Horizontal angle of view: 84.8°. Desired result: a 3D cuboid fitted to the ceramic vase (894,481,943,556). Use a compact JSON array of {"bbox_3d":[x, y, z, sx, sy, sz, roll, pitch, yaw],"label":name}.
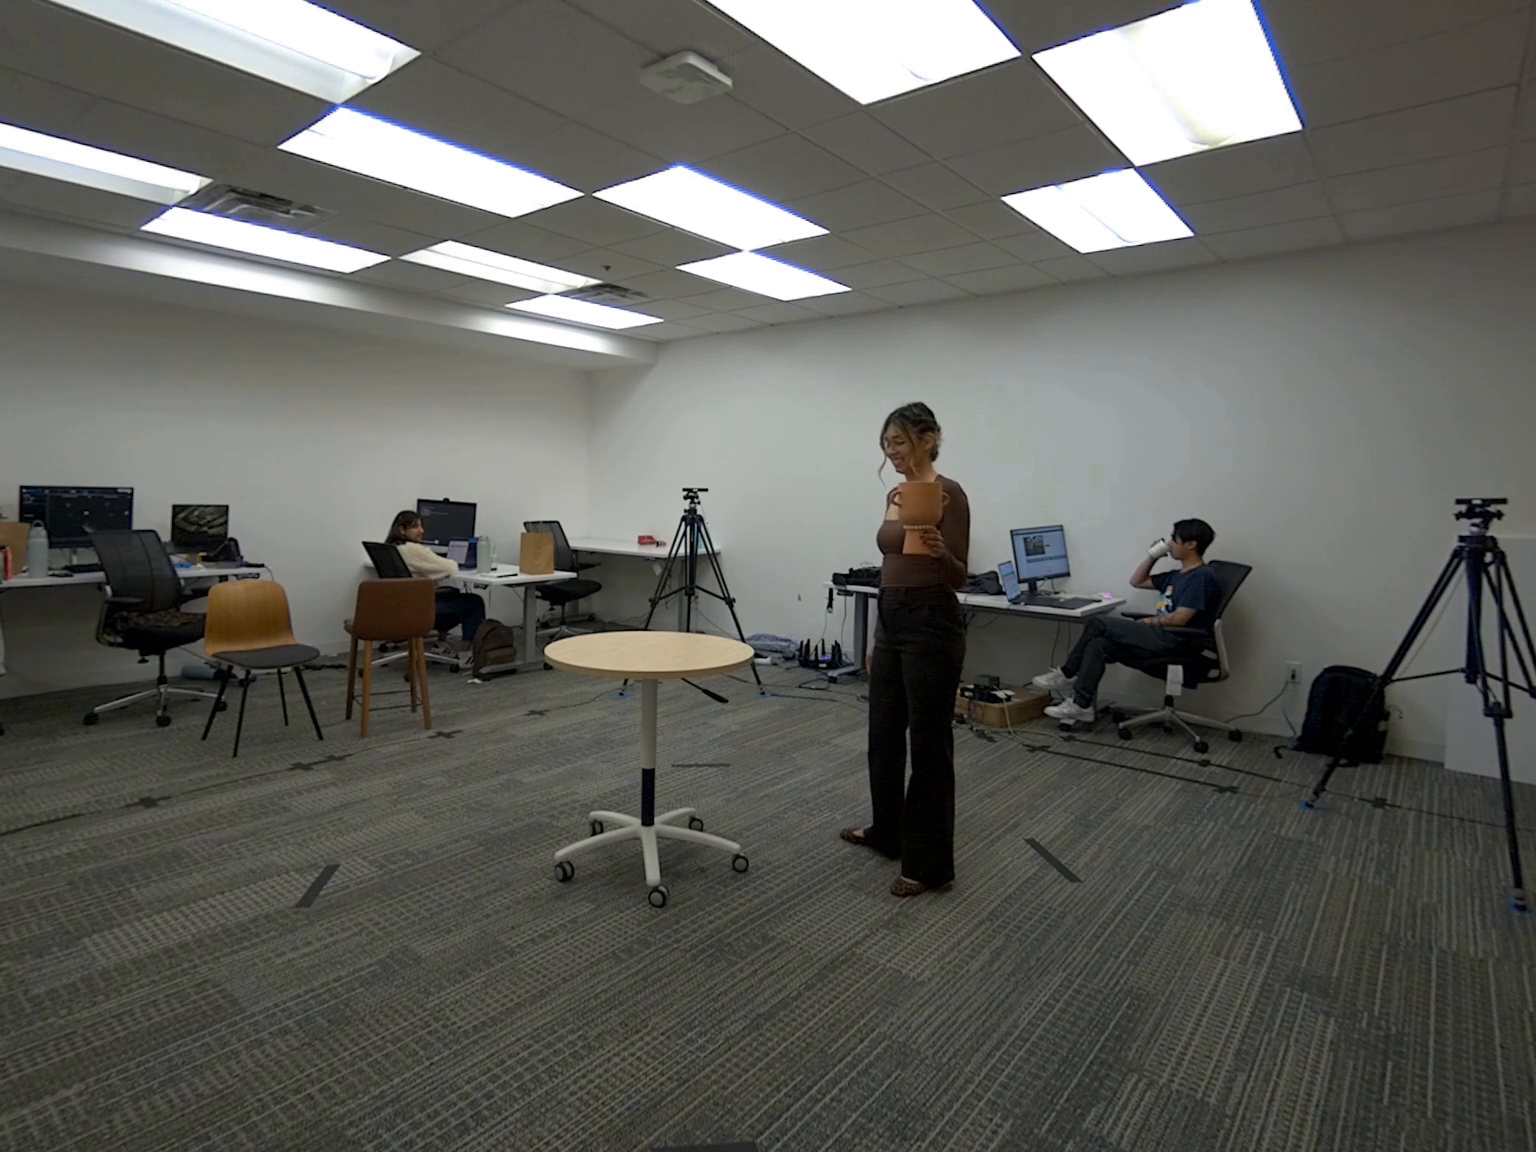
[{"bbox_3d":[0.469,-0.182,2.634,0.163,0.220,0.131,1,0,24],"label":"ceramic vase"}]
